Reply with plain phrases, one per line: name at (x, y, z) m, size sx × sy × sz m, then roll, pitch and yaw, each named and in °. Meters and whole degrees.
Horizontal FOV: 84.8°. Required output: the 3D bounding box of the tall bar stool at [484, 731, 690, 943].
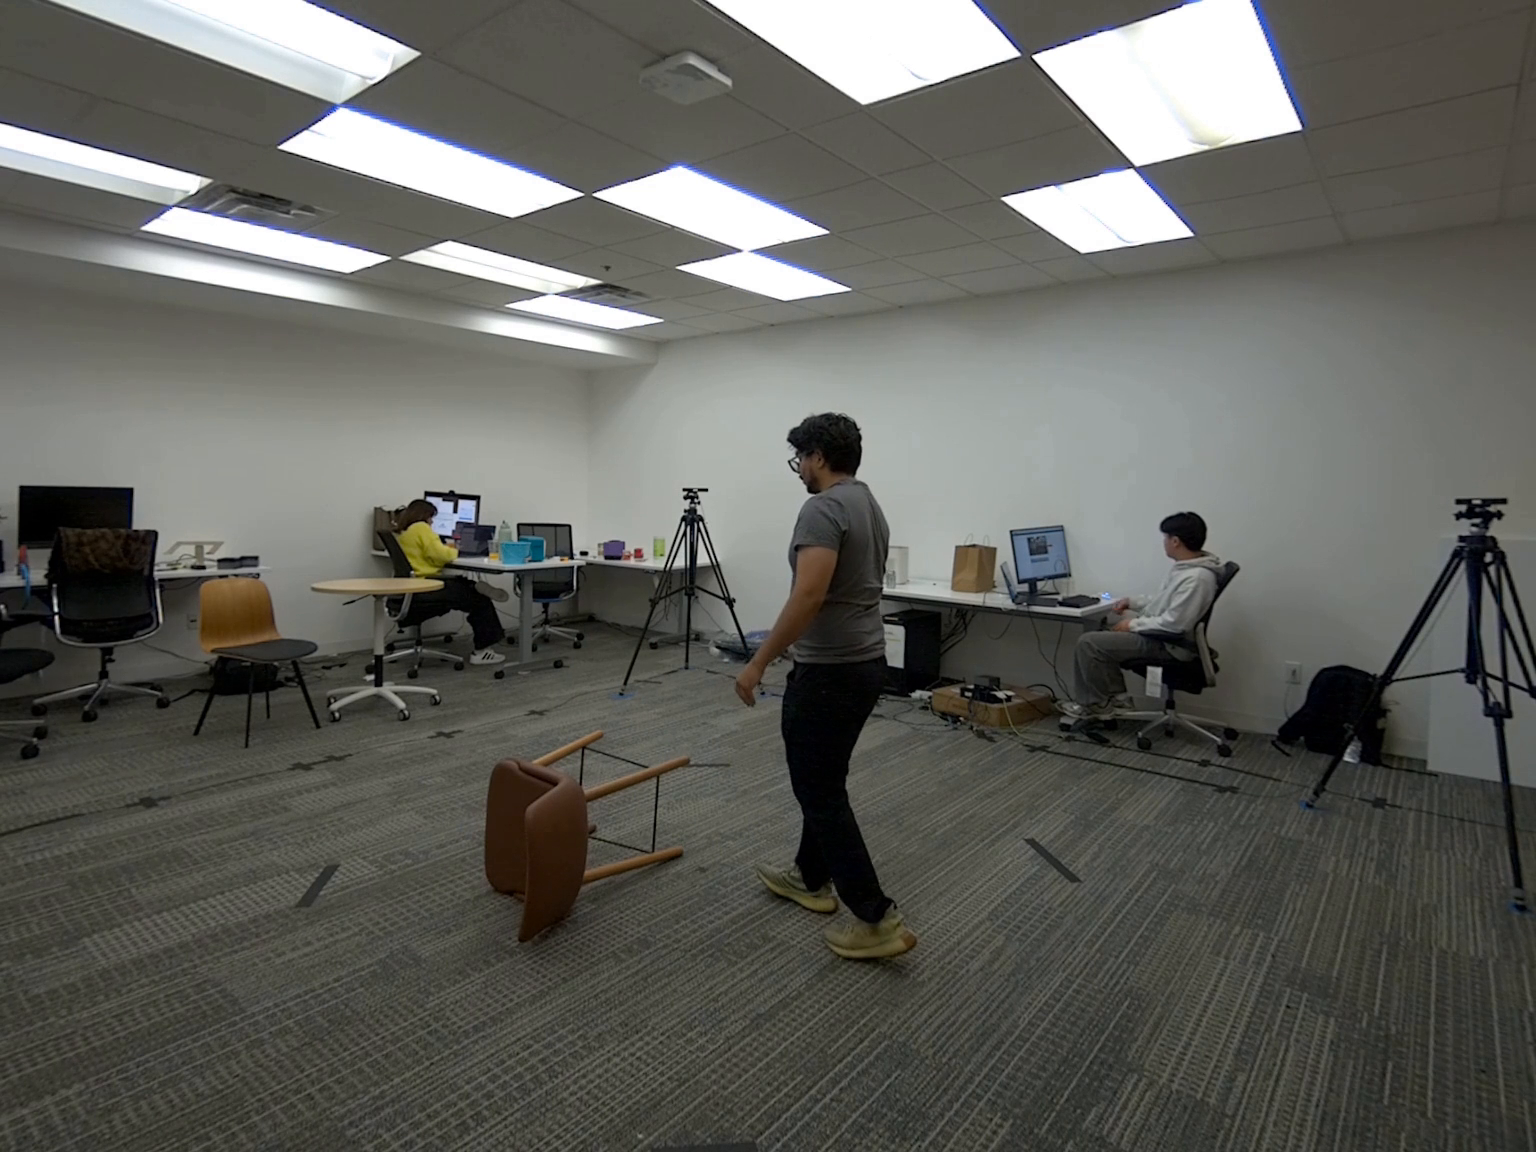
tall bar stool at (-0.710, 0.862, 2.962) m, size 0.481 × 0.455 × 0.867 m, roll 6°, pitch 4°, yaw 27°
